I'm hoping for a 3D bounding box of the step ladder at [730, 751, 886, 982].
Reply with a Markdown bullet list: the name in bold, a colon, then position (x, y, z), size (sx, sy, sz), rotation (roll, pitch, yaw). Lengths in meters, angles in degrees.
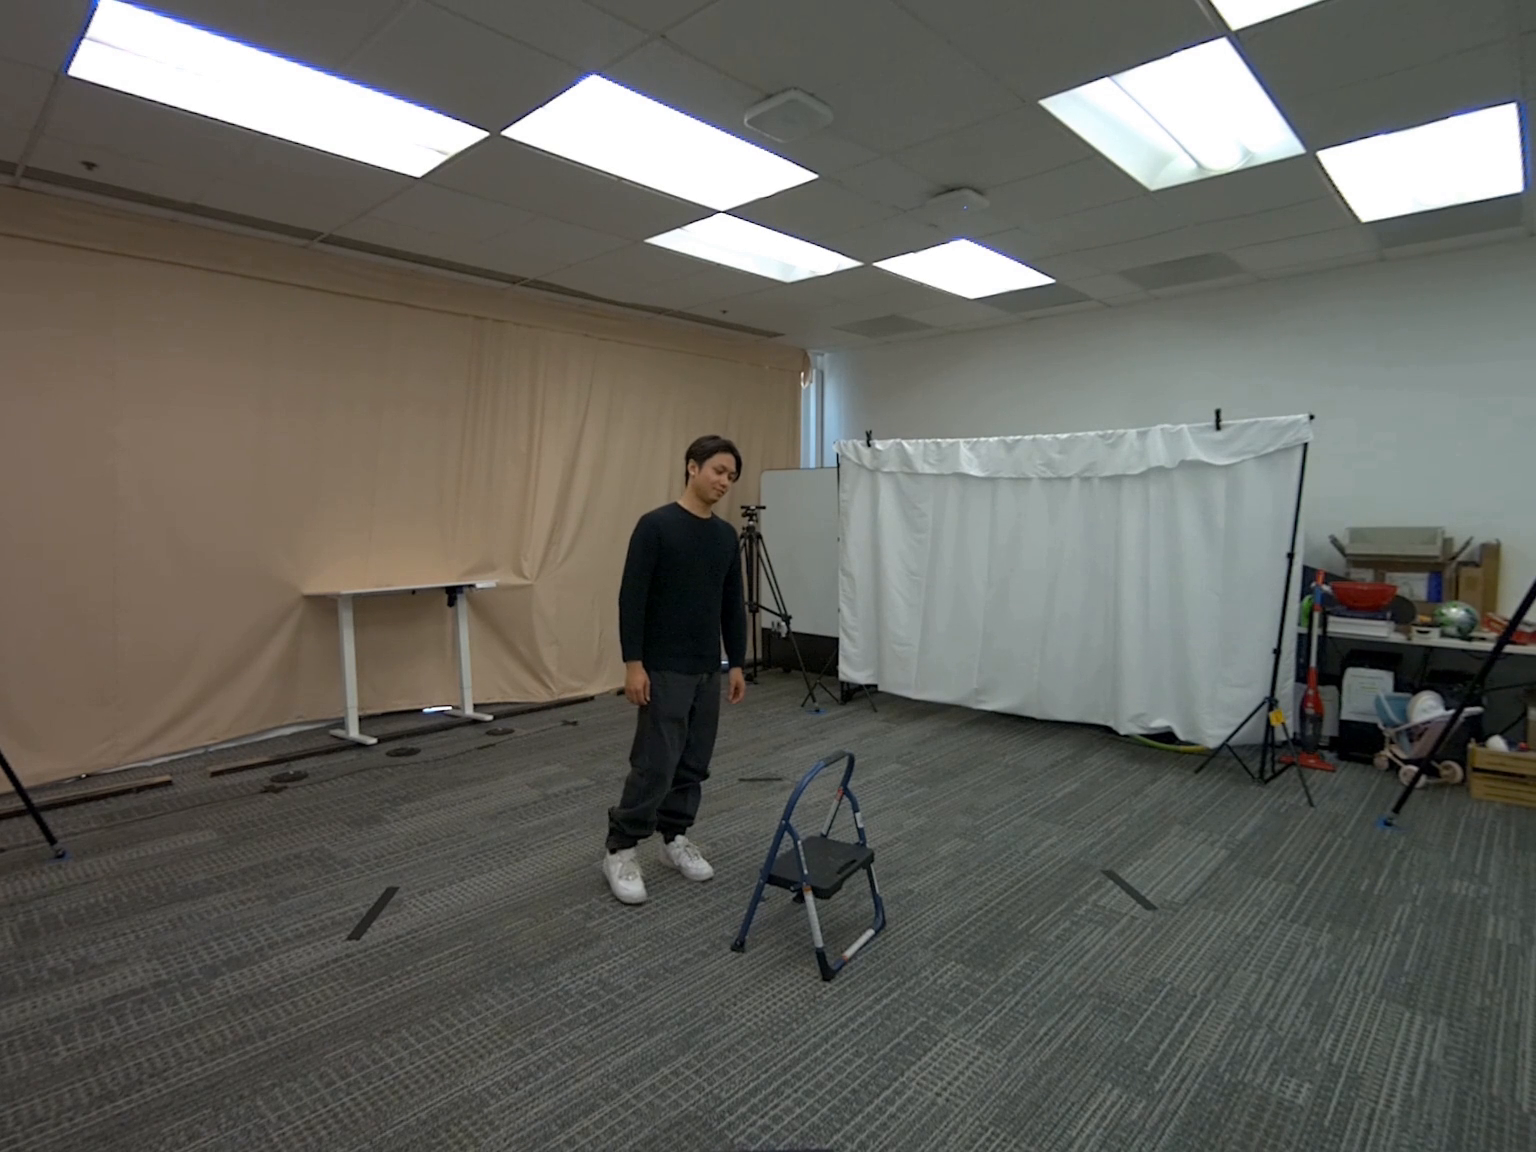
- **step ladder**: position (0.145, 0.865, 2.698), size (0.360, 0.605, 0.418), rotation (2, 4, 33)
